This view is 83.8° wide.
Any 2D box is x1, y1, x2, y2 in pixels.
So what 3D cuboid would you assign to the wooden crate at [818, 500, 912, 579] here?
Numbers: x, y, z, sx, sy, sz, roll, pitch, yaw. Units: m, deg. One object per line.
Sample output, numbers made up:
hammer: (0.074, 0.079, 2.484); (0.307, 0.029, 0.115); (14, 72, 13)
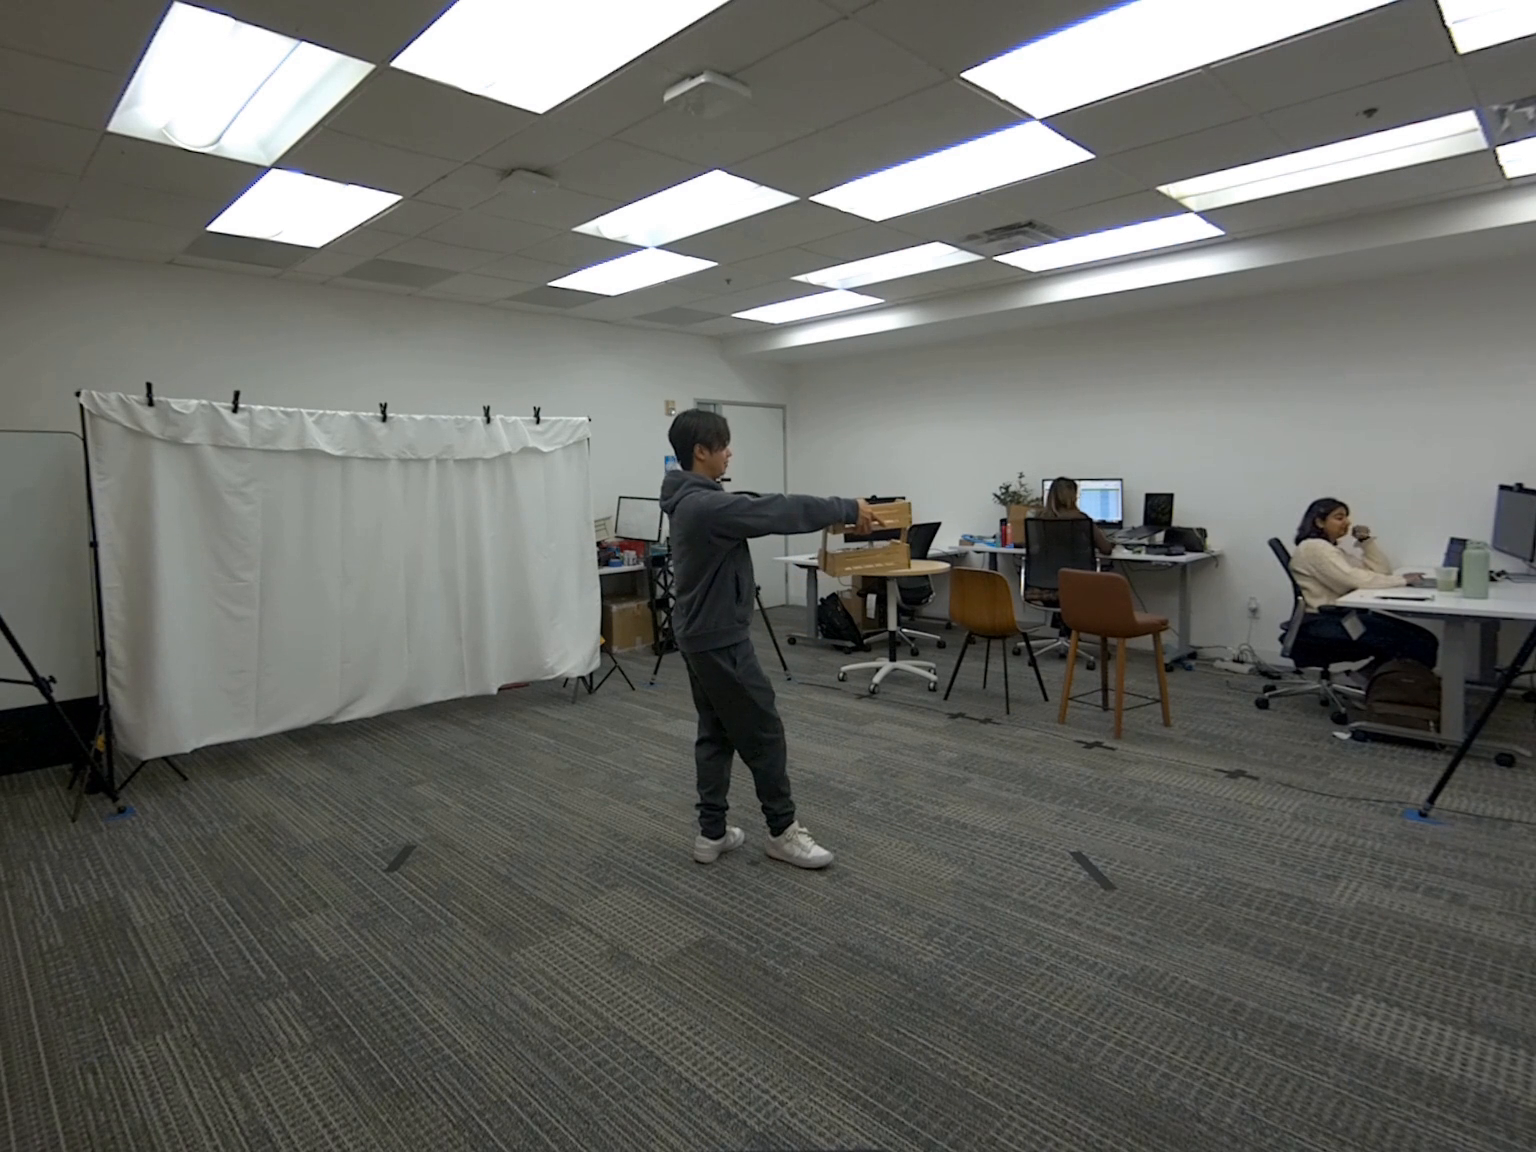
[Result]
wooden crate: (0.369, -0.157, 3.292); (0.323, 0.271, 0.306); (-5, 8, -6)
